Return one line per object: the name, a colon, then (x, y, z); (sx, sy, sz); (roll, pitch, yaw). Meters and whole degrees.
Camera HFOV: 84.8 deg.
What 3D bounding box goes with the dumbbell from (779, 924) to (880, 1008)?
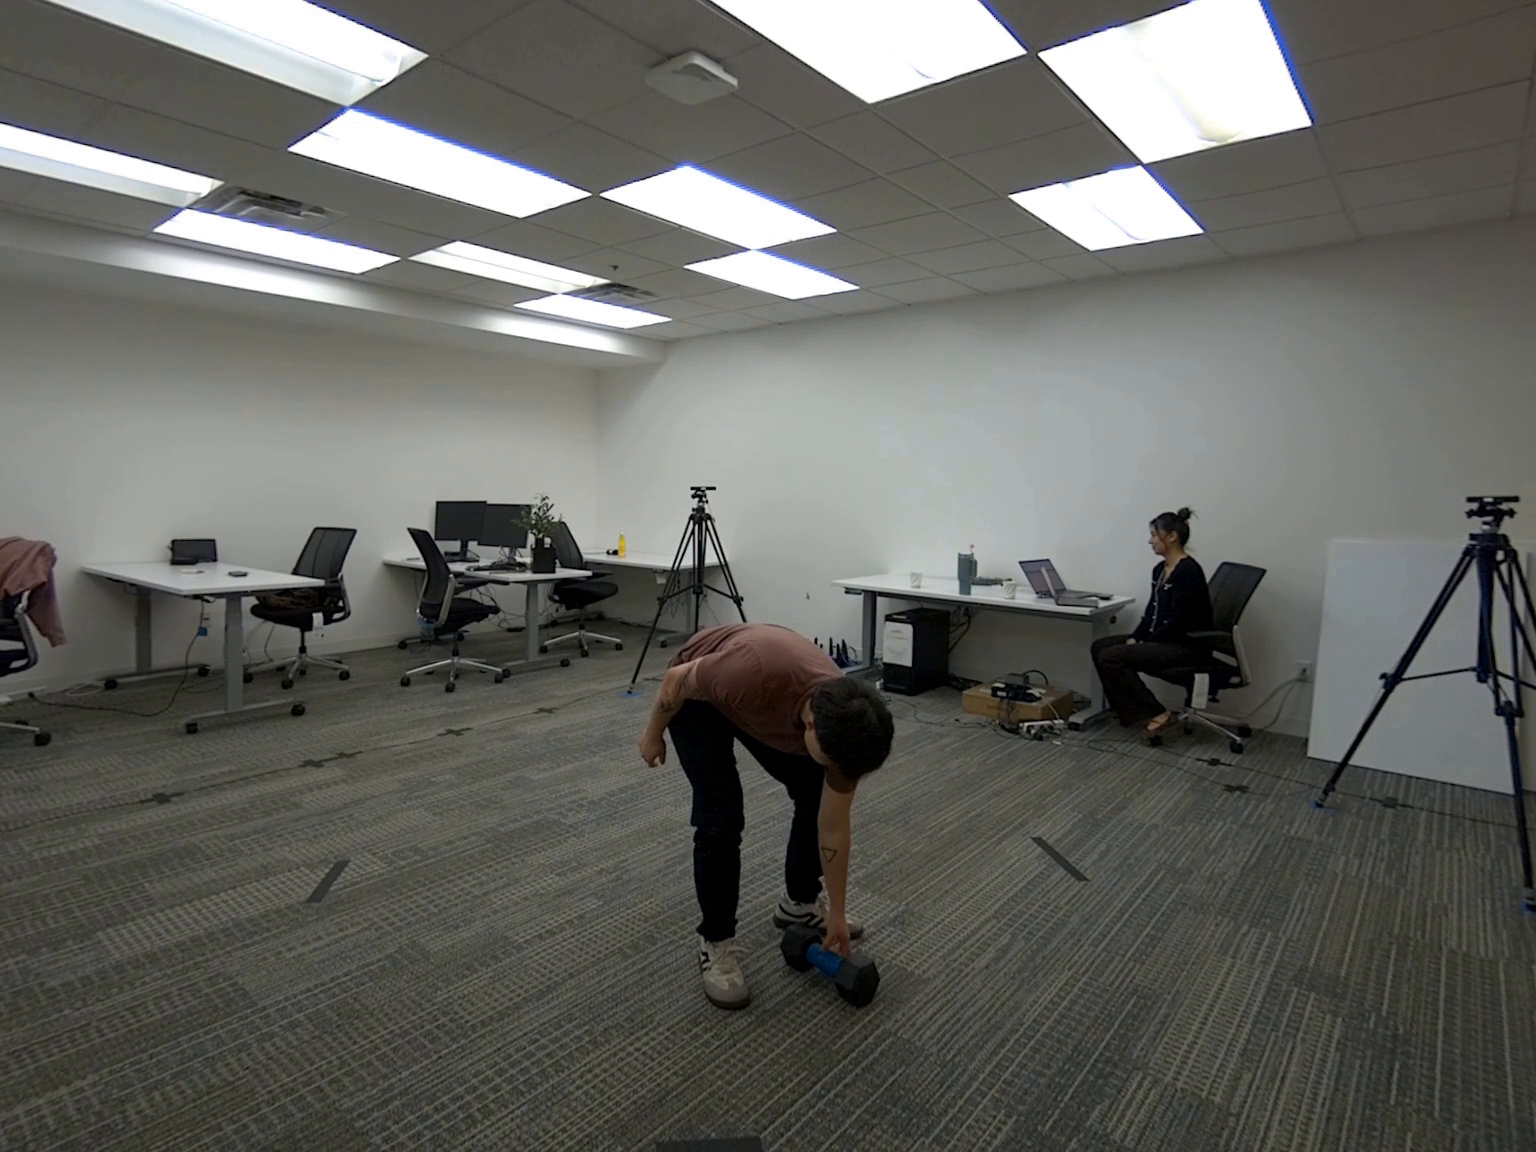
dumbbell: (0.164, 1.091, 2.402); (0.108, 0.120, 0.303); (-37, 26, -34)
